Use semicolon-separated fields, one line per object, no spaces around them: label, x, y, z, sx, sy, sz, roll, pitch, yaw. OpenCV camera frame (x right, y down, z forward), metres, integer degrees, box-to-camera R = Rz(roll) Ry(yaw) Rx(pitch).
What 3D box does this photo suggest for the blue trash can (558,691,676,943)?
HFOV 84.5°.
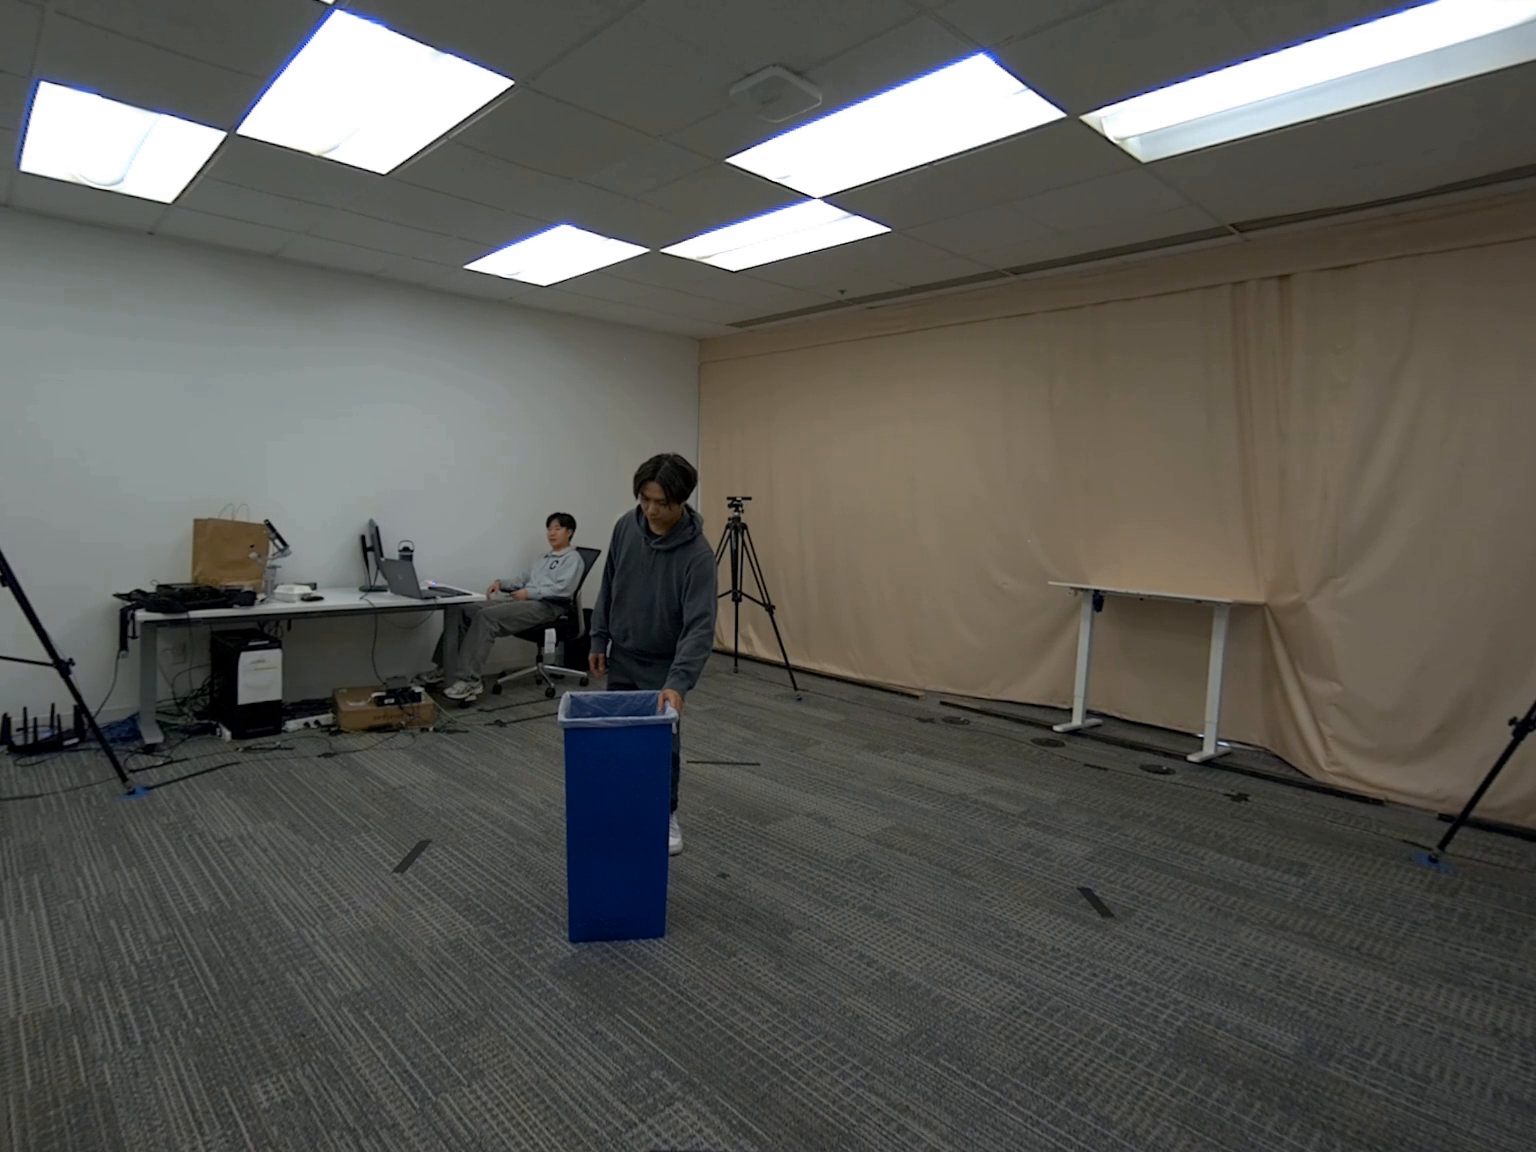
blue trash can;-0.507;0.779;2.753;0.371;0.712;0.382;1;4;-10
